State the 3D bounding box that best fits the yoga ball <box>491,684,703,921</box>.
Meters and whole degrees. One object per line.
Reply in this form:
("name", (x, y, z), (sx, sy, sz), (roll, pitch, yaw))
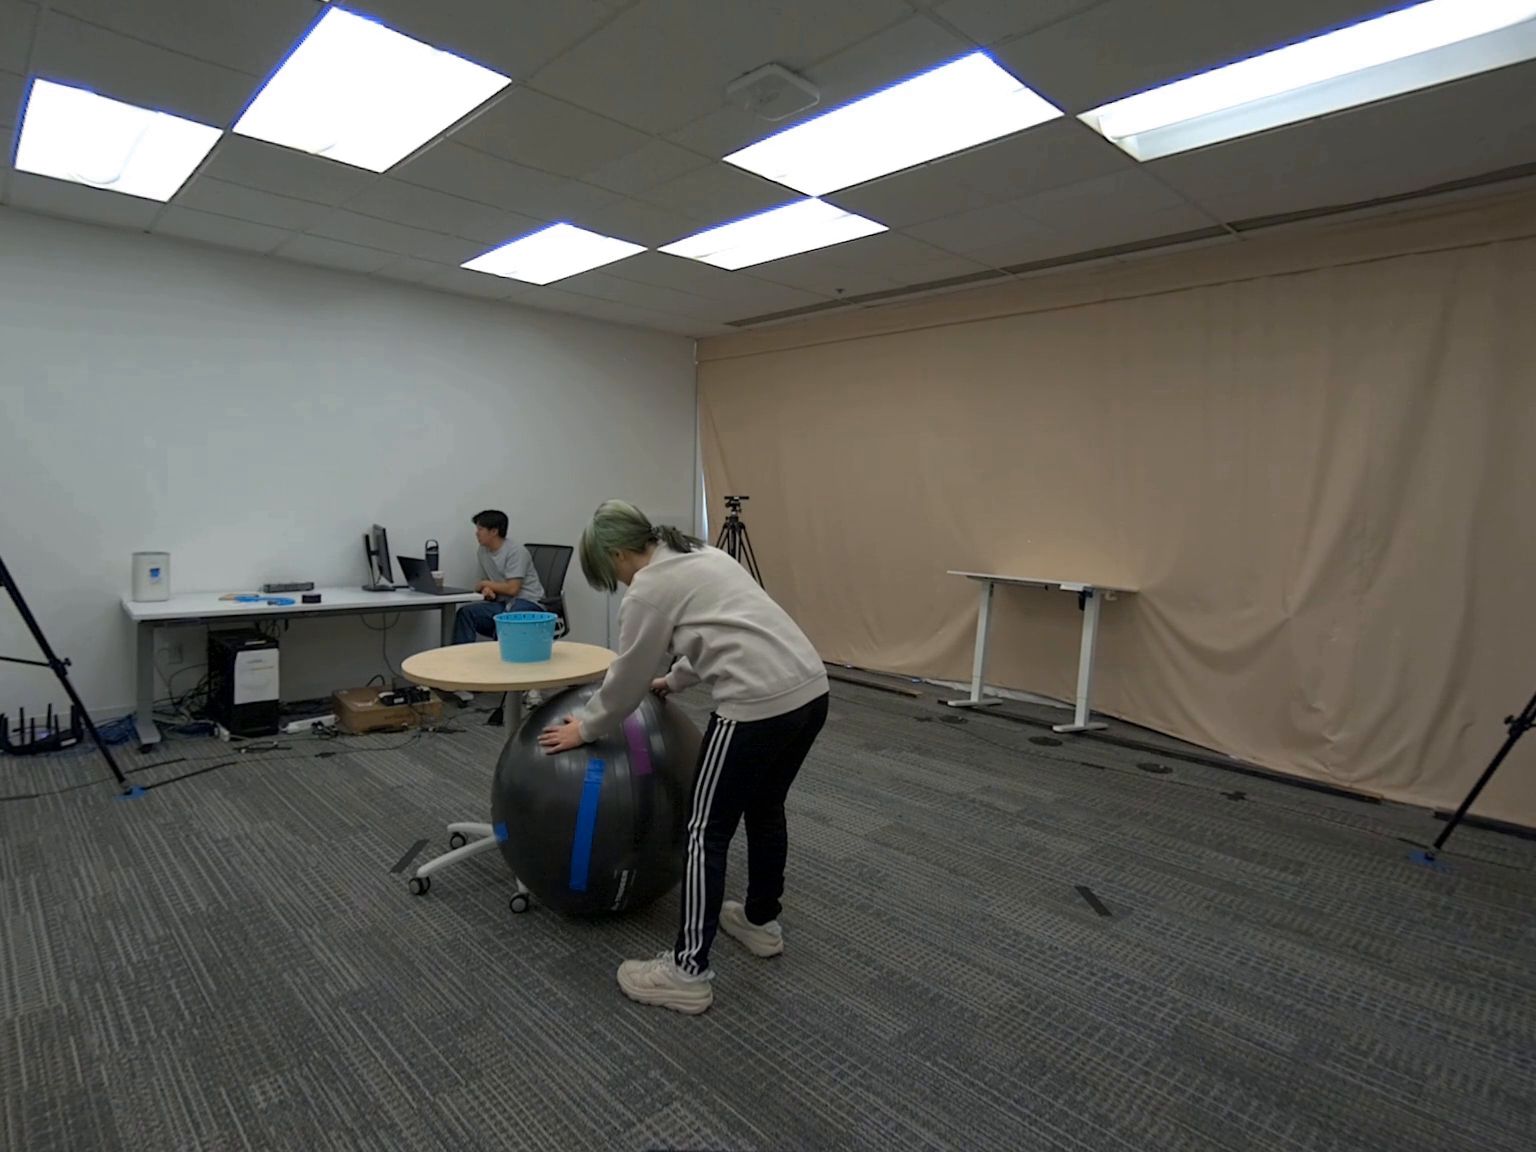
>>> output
("yoga ball", (-0.548, 0.745, 2.854), (0.757, 0.756, 0.761), (1, 4, -1))
